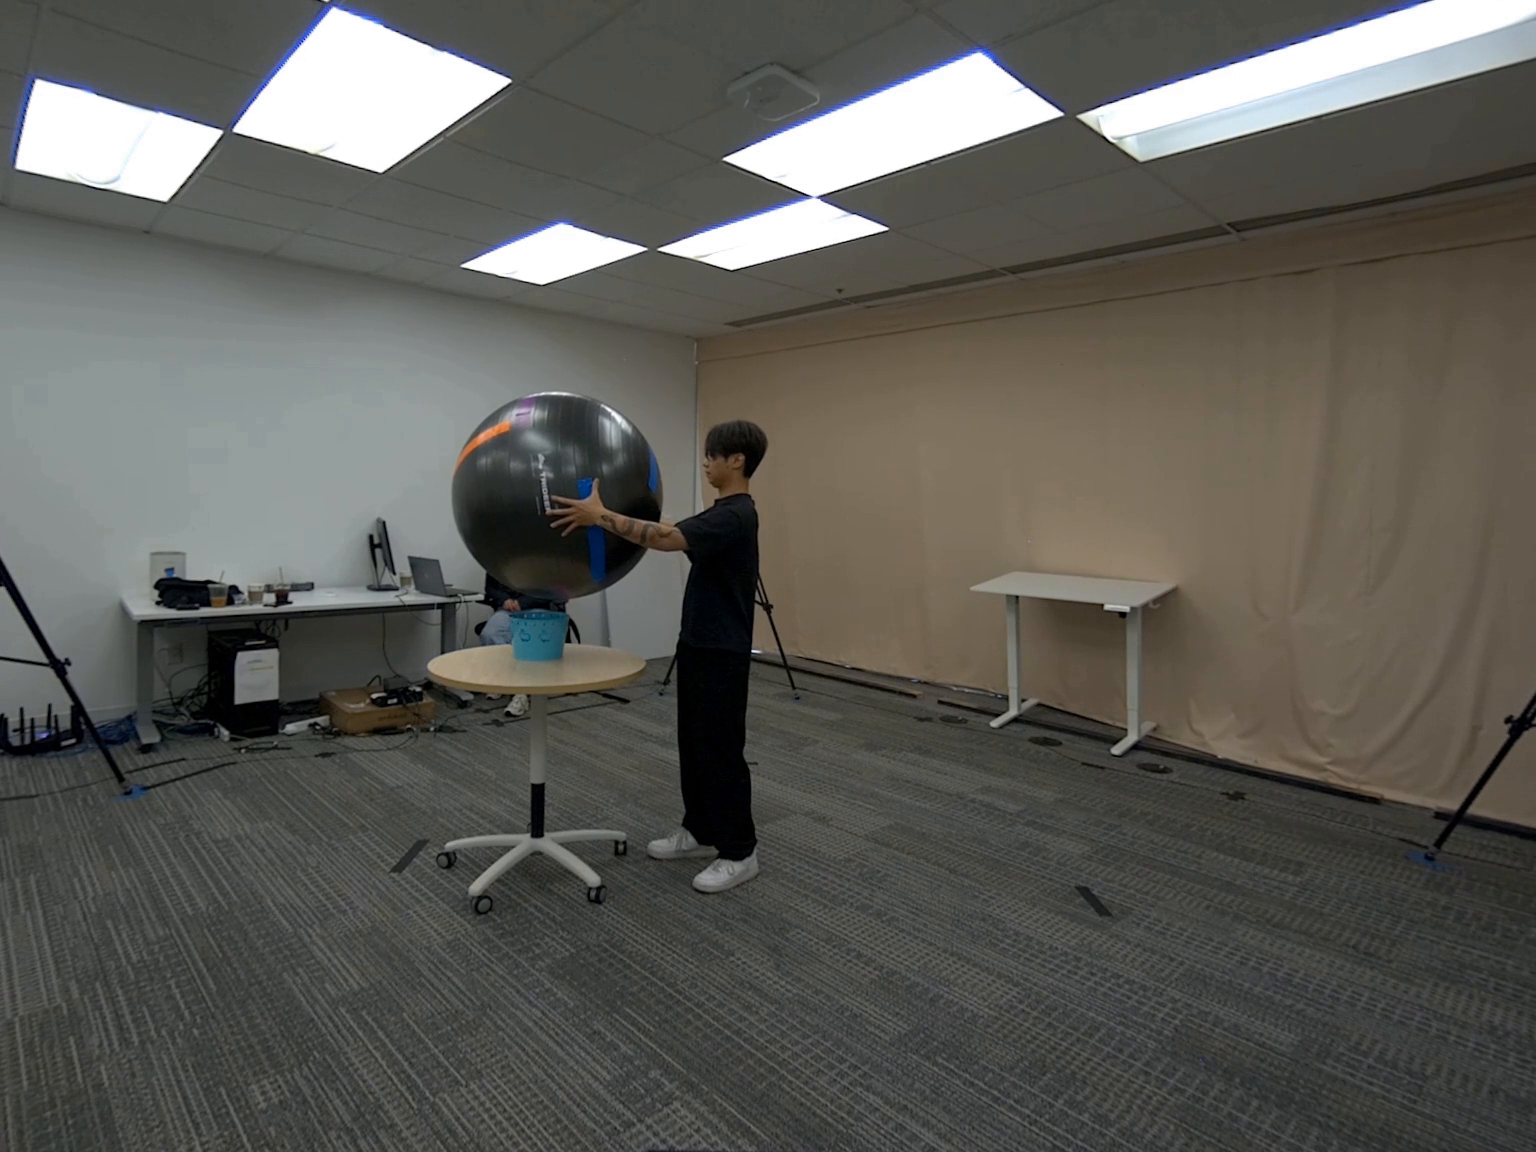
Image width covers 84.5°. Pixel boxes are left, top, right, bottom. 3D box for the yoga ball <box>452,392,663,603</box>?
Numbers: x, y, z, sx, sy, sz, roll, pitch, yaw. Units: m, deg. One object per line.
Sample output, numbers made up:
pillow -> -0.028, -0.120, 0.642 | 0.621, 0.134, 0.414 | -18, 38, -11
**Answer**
yoga ball -> -0.781, -0.289, 3.110 | 0.757, 0.756, 0.761 | 1, 4, -1
